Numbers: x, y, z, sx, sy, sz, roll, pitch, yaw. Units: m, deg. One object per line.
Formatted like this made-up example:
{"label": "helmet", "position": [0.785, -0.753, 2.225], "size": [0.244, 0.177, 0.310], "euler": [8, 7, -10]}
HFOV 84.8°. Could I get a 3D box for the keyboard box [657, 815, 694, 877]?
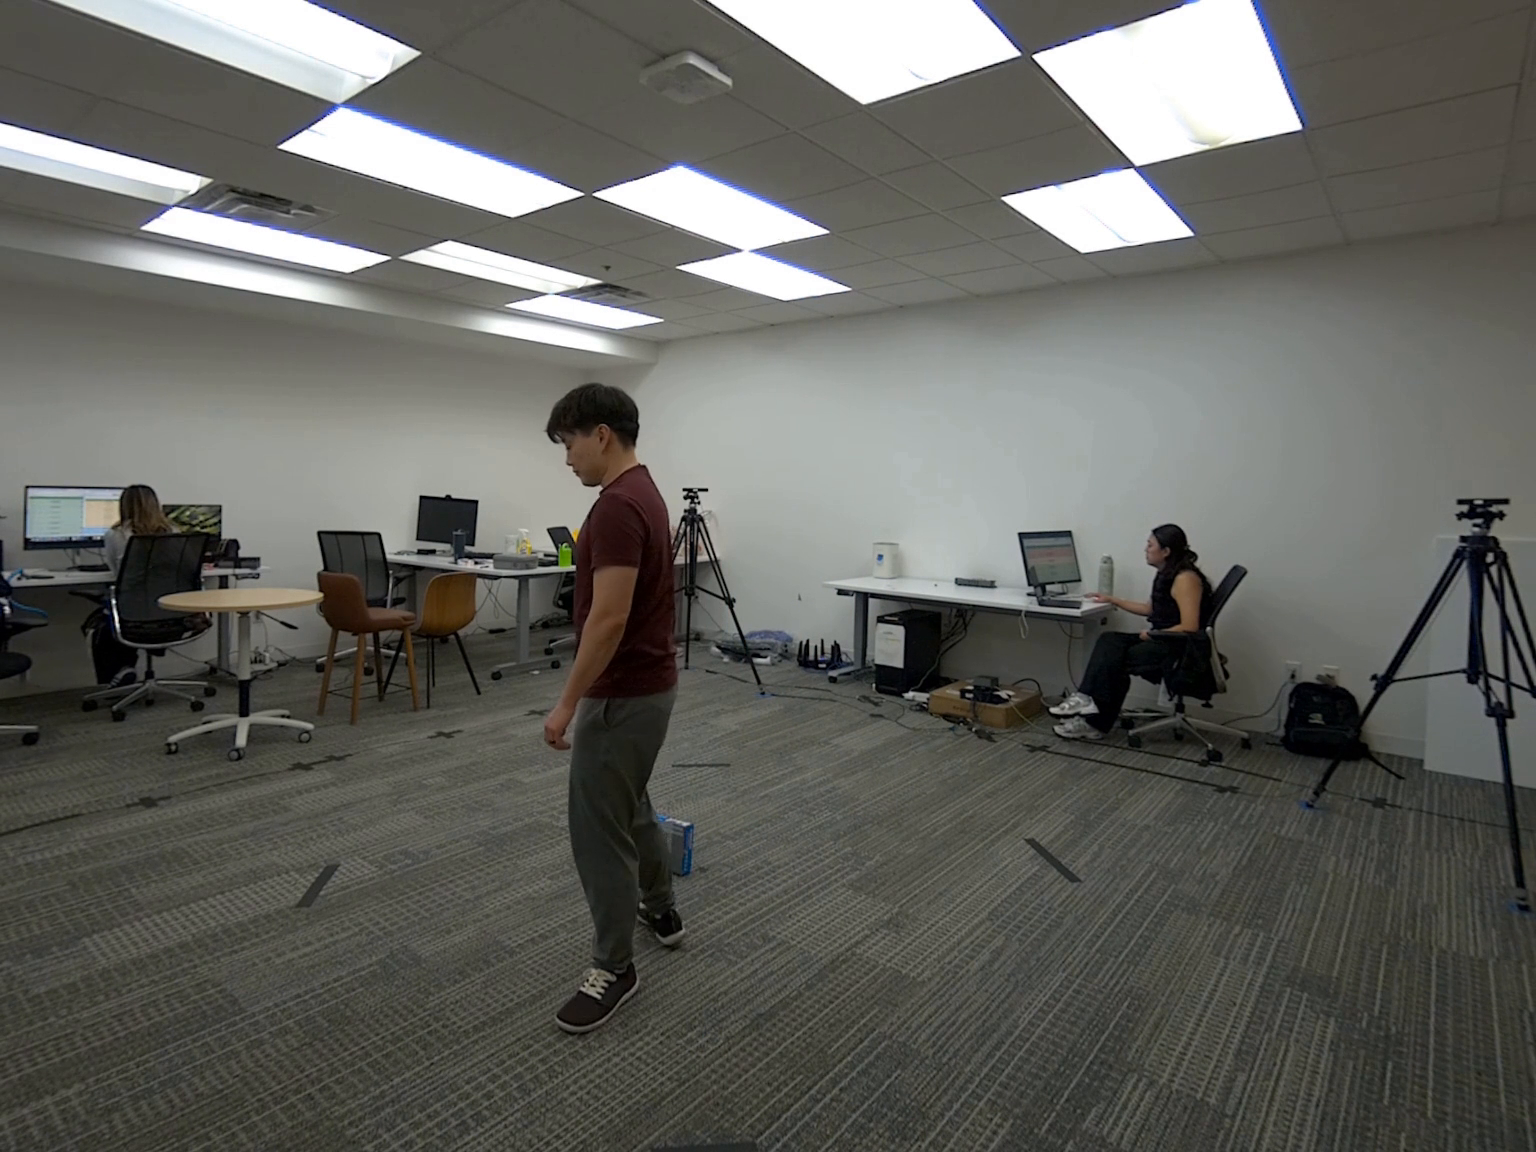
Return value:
{"label": "keyboard box", "position": [-0.484, 0.968, 3.179], "size": [0.450, 0.176, 0.057], "euler": [4, -3, 31]}
